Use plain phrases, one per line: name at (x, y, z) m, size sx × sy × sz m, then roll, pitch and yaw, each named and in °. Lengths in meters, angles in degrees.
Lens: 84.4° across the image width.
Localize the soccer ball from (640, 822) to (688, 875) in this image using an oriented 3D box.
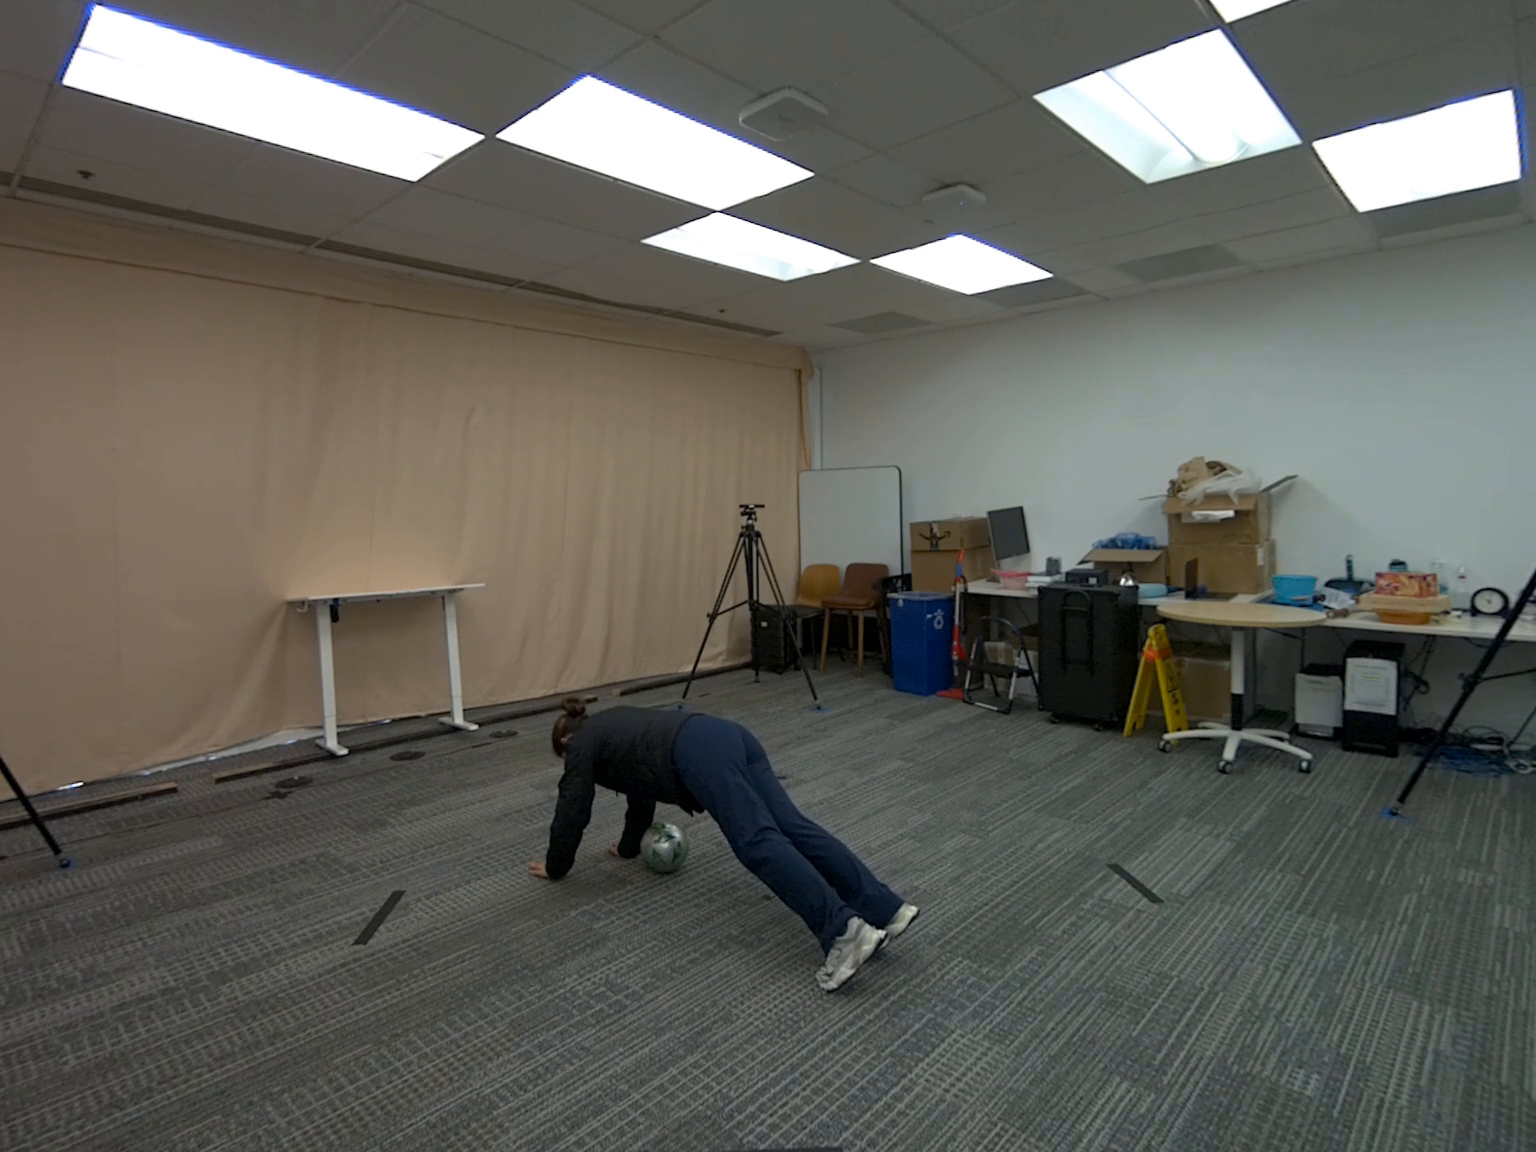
soccer ball at (-0.393, 1.038, 3.214) m, size 0.187 × 0.187 × 0.188 m, roll -1°, pitch 4°, yaw -2°
